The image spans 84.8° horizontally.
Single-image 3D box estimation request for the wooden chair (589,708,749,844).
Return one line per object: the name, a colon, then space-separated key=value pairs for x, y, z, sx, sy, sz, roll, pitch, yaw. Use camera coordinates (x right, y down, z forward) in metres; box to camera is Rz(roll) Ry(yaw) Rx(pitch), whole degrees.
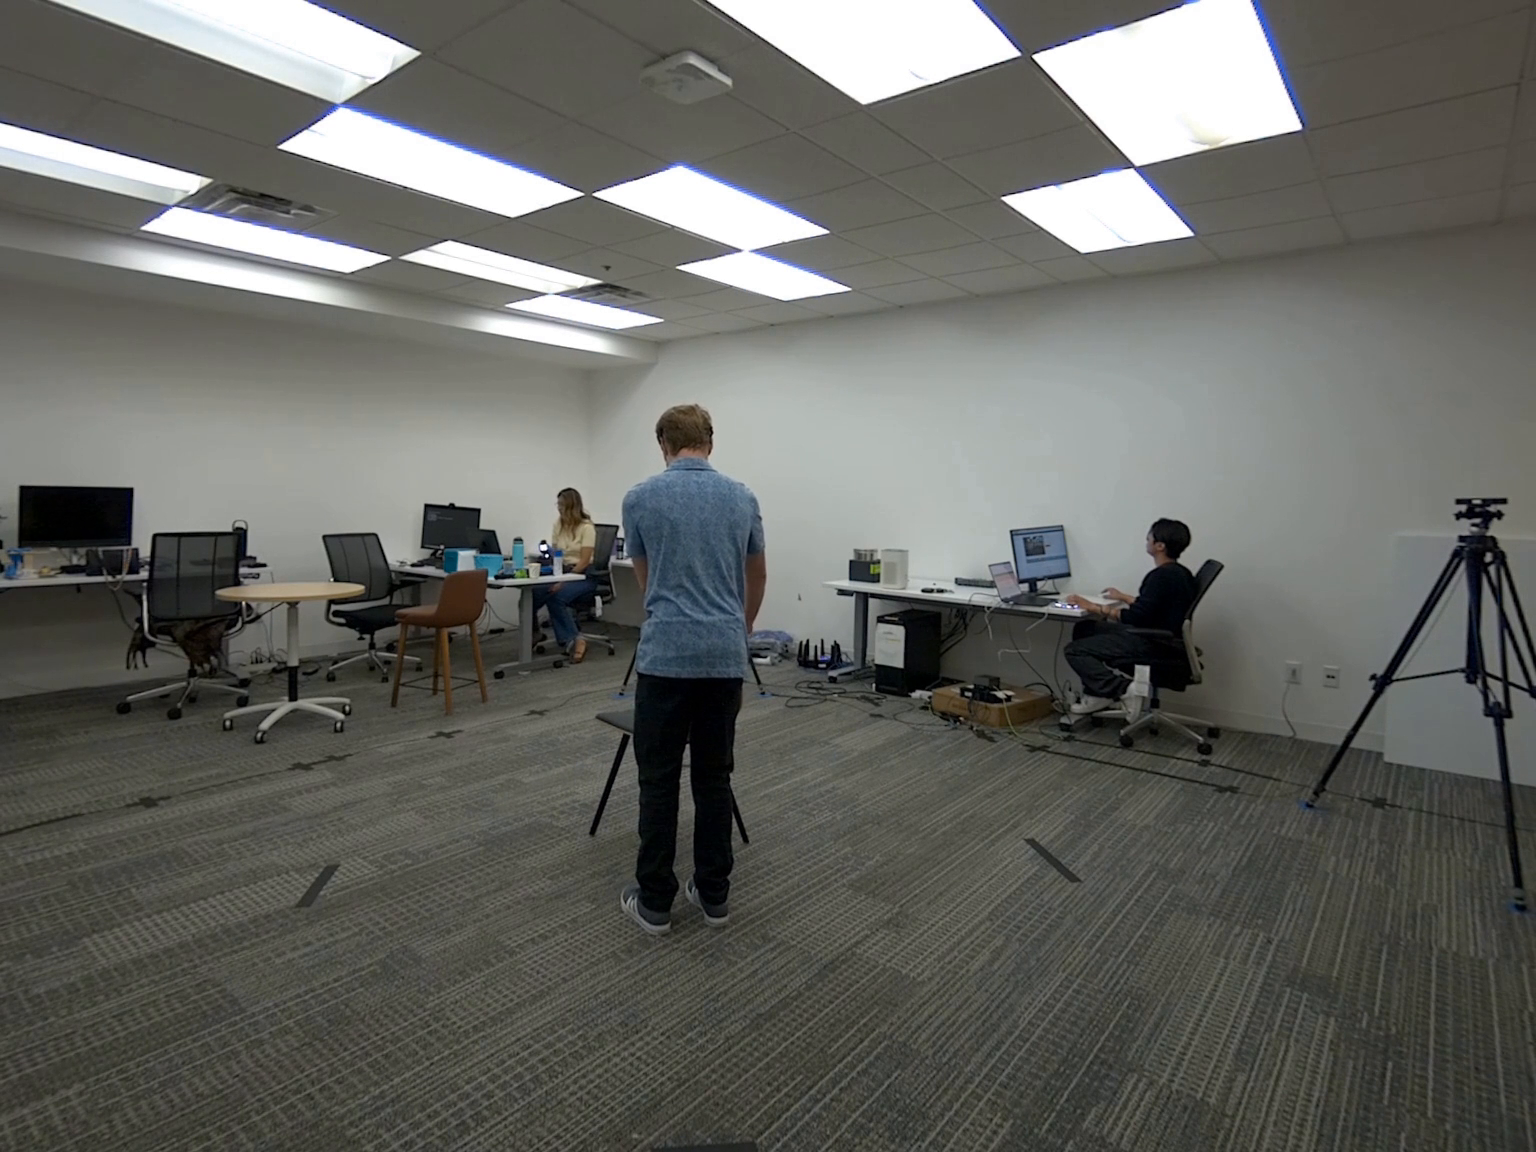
wooden chair: x=-0.396 y=0.614 z=3.353 sx=0.463 sy=0.872 sz=0.542 roll=-2 pitch=9 yaw=-43
